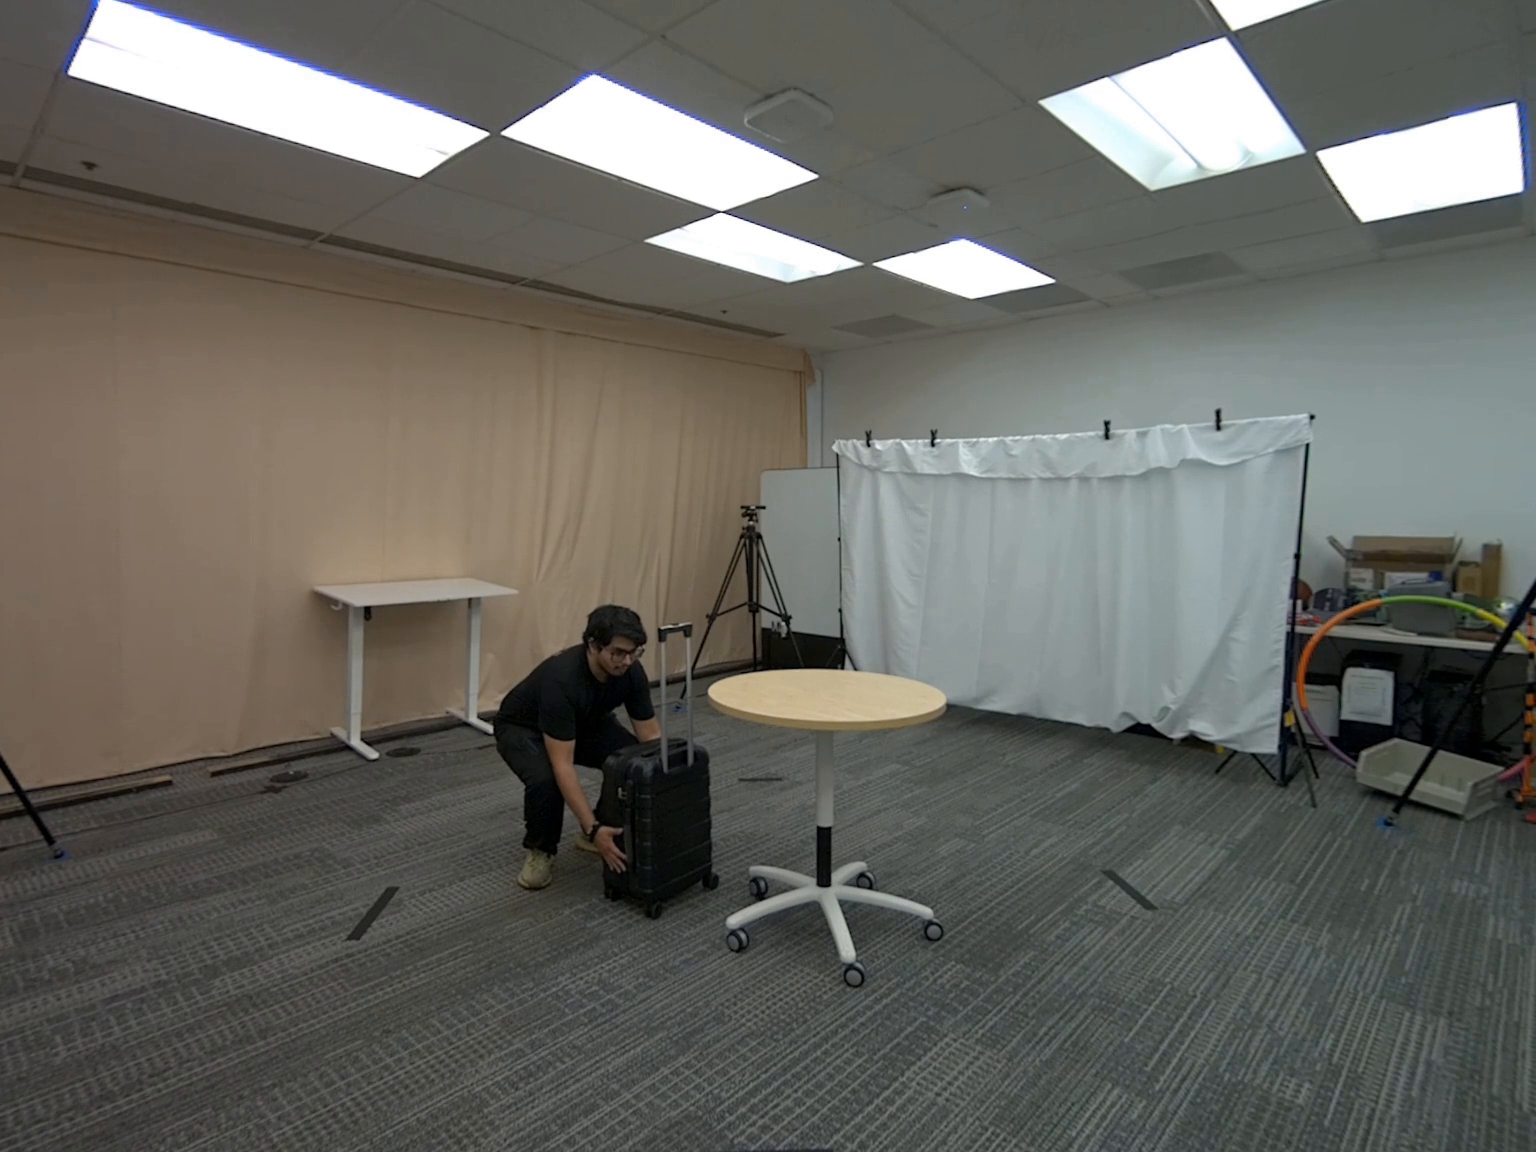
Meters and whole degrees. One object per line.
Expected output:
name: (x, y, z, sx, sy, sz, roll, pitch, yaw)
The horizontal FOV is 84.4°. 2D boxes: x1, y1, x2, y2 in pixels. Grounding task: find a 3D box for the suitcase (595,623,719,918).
suitcase: (-0.402, 0.665, 2.991, 0.265, 0.977, 0.373, -1, 3, 38)
